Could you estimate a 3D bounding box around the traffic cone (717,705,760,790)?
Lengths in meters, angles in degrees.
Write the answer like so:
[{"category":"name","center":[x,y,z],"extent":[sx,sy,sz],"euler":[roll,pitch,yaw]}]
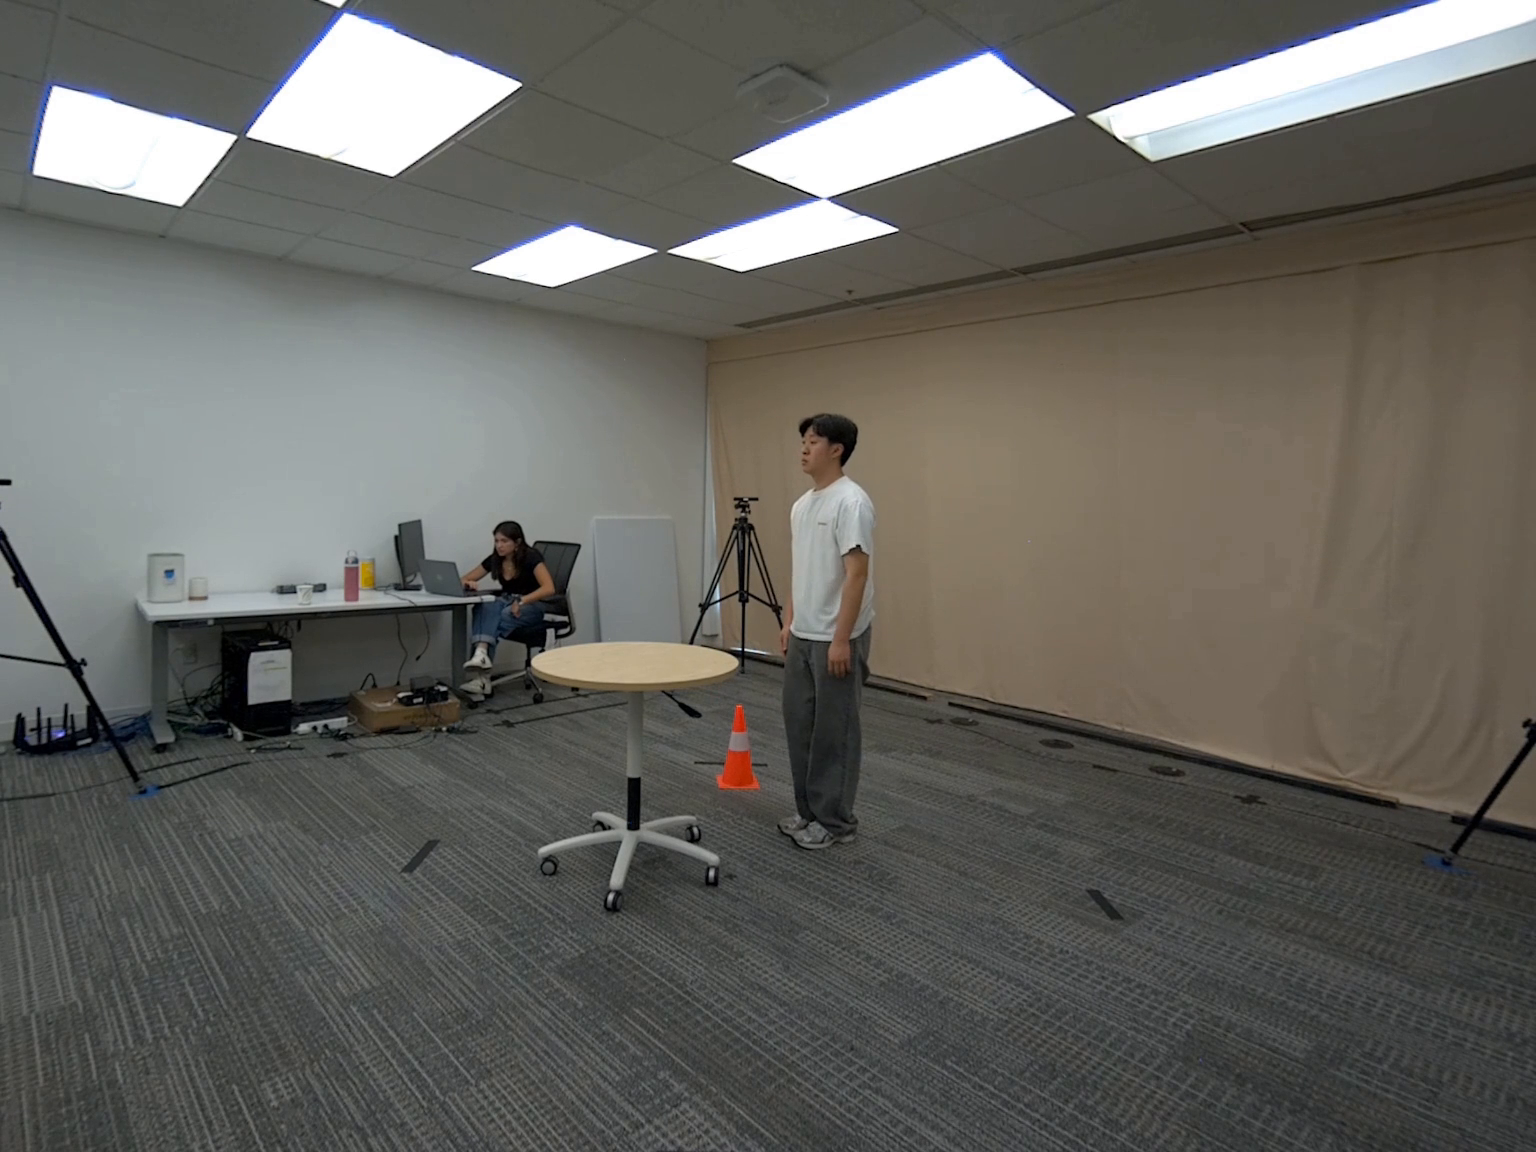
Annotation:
[{"category":"traffic cone","center":[-0.158,0.834,4.163],"extent":[0.202,0.383,0.207],"euler":[2,2,-8]}]
